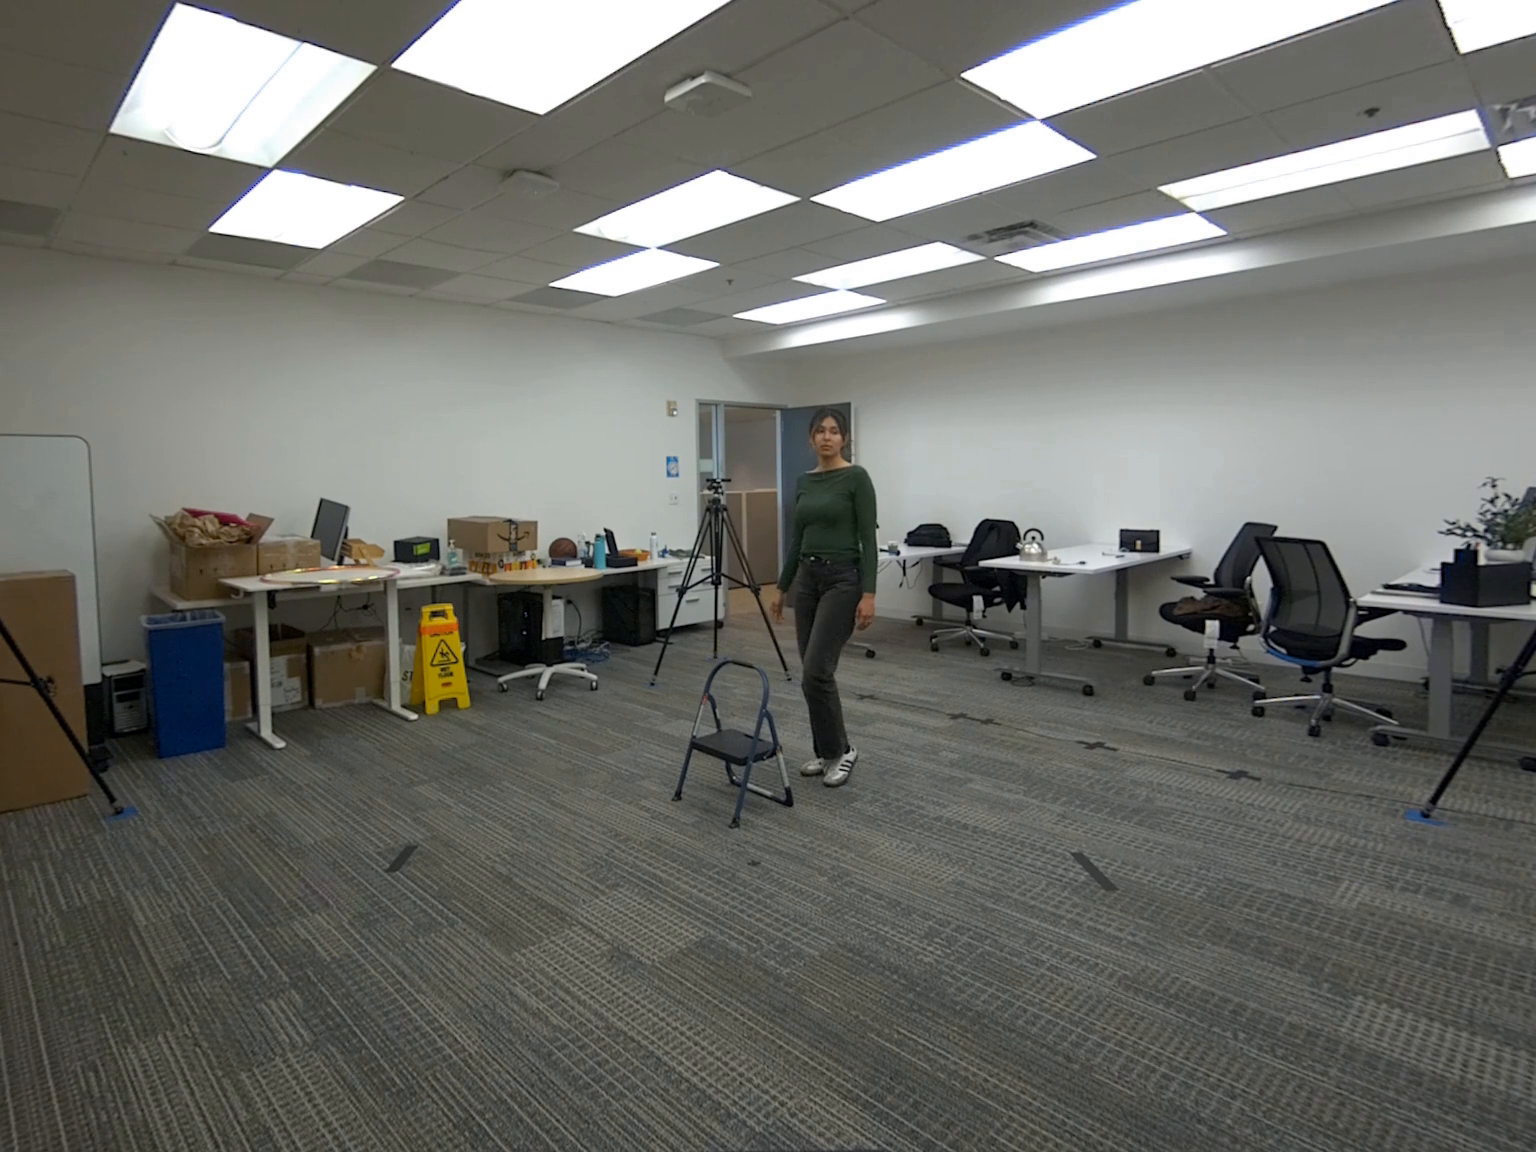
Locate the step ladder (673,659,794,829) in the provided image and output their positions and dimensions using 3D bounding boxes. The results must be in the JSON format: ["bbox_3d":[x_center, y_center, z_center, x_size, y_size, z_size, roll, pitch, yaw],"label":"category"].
[{"bbox_3d":[-0.157,0.678,3.669,0.340,0.604,0.444,-4,5,-41],"label":"step ladder"}]
